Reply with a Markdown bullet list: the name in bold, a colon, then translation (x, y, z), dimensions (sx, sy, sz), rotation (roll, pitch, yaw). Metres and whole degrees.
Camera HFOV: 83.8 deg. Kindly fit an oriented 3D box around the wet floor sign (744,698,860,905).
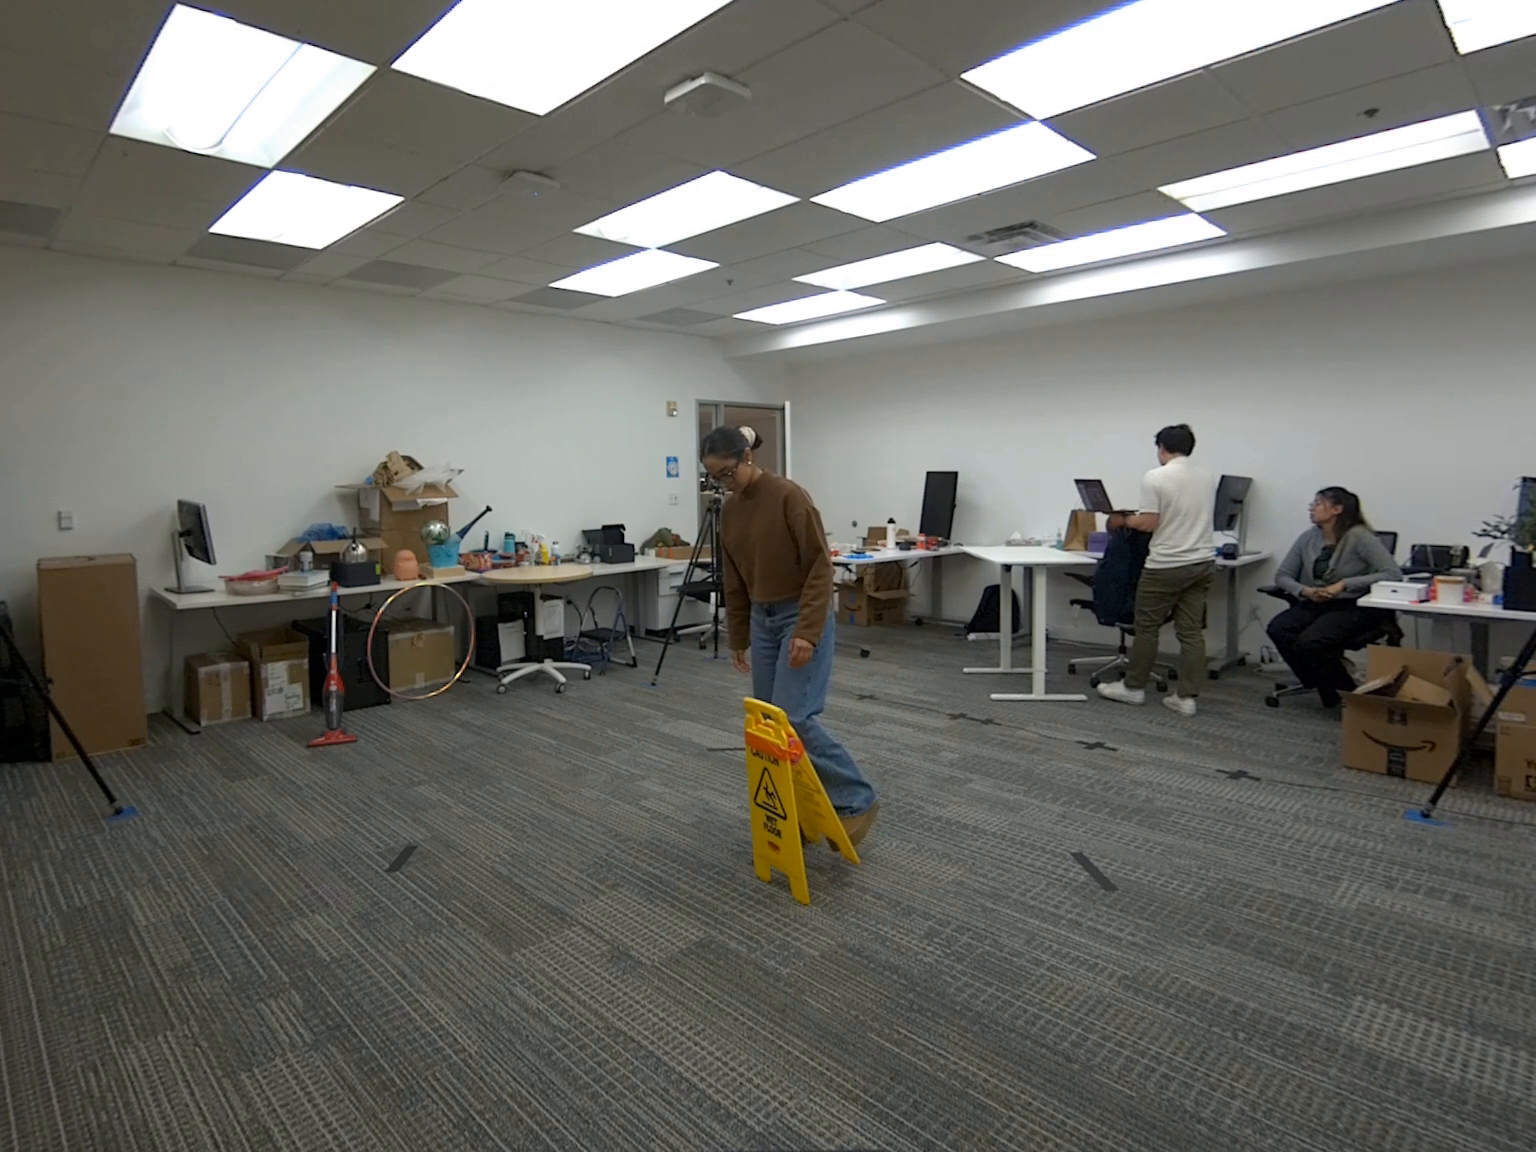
- **wet floor sign**: translation (0.064, 0.725, 2.893), dimensions (0.286, 0.636, 0.290), rotation (-24, 16, -32)
